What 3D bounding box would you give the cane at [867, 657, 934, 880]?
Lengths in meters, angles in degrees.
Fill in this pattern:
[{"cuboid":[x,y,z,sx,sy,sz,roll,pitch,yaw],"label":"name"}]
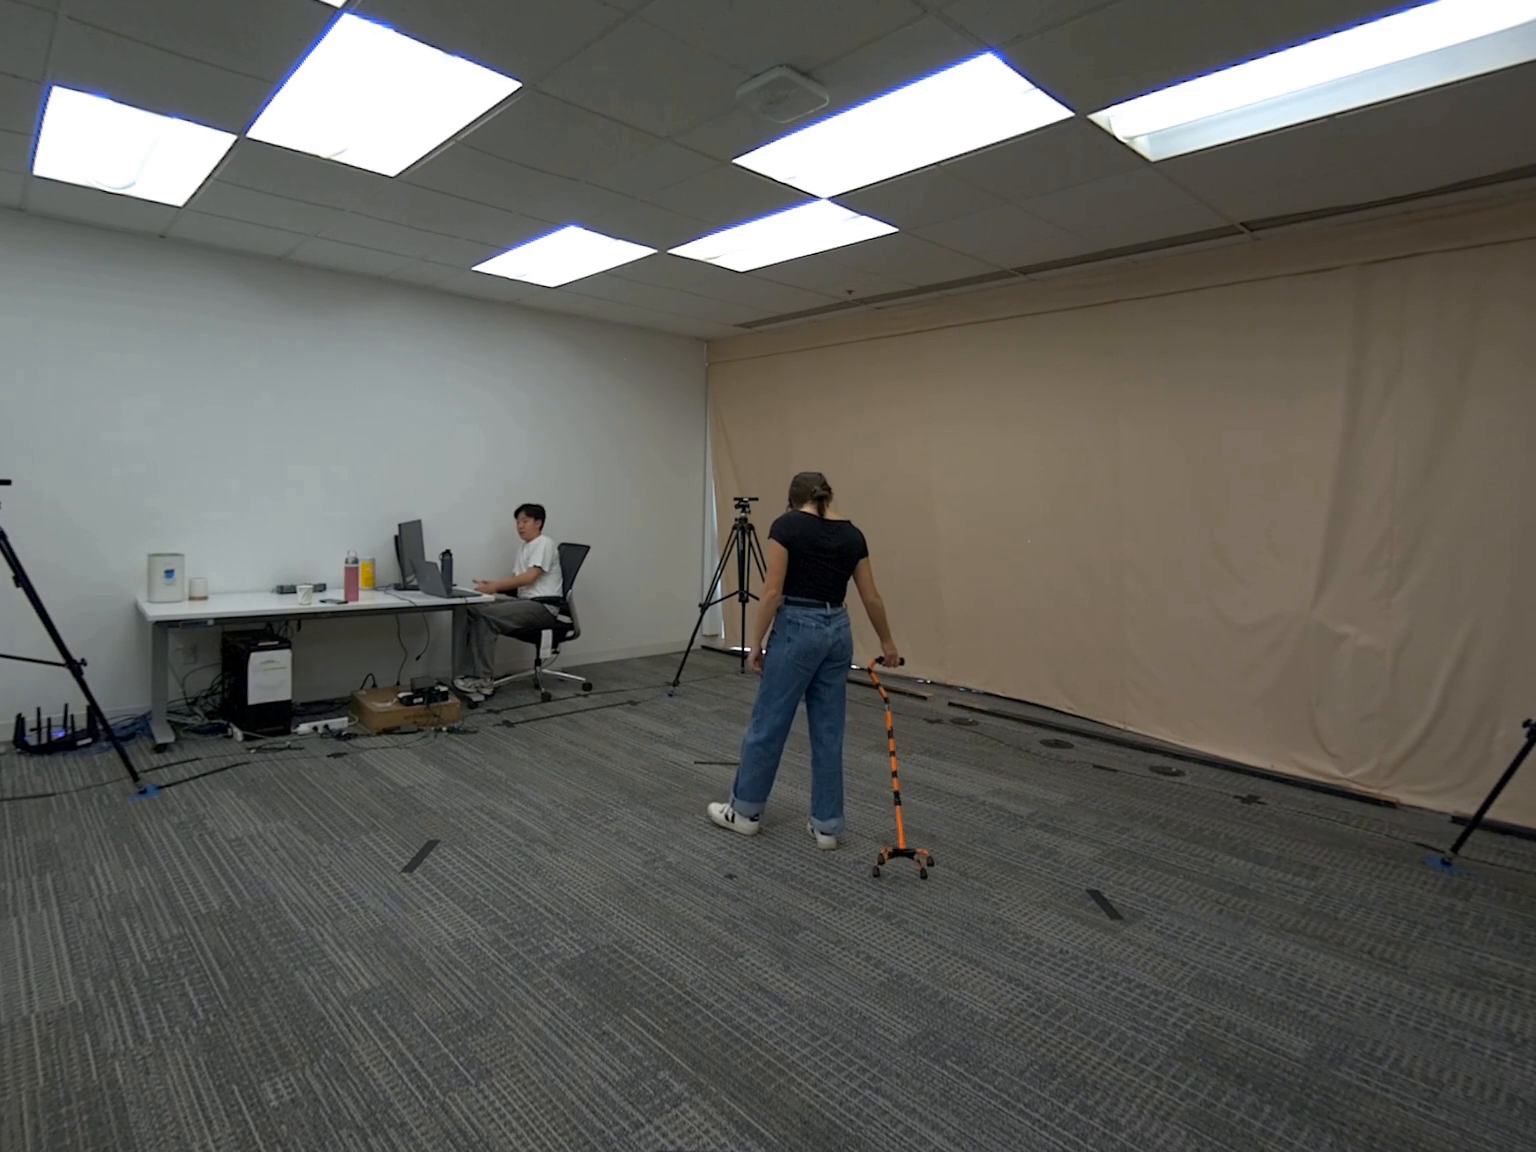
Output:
[{"cuboid":[0.493,0.724,3.357,0.206,0.927,0.148,1,-40,0],"label":"cane"}]
